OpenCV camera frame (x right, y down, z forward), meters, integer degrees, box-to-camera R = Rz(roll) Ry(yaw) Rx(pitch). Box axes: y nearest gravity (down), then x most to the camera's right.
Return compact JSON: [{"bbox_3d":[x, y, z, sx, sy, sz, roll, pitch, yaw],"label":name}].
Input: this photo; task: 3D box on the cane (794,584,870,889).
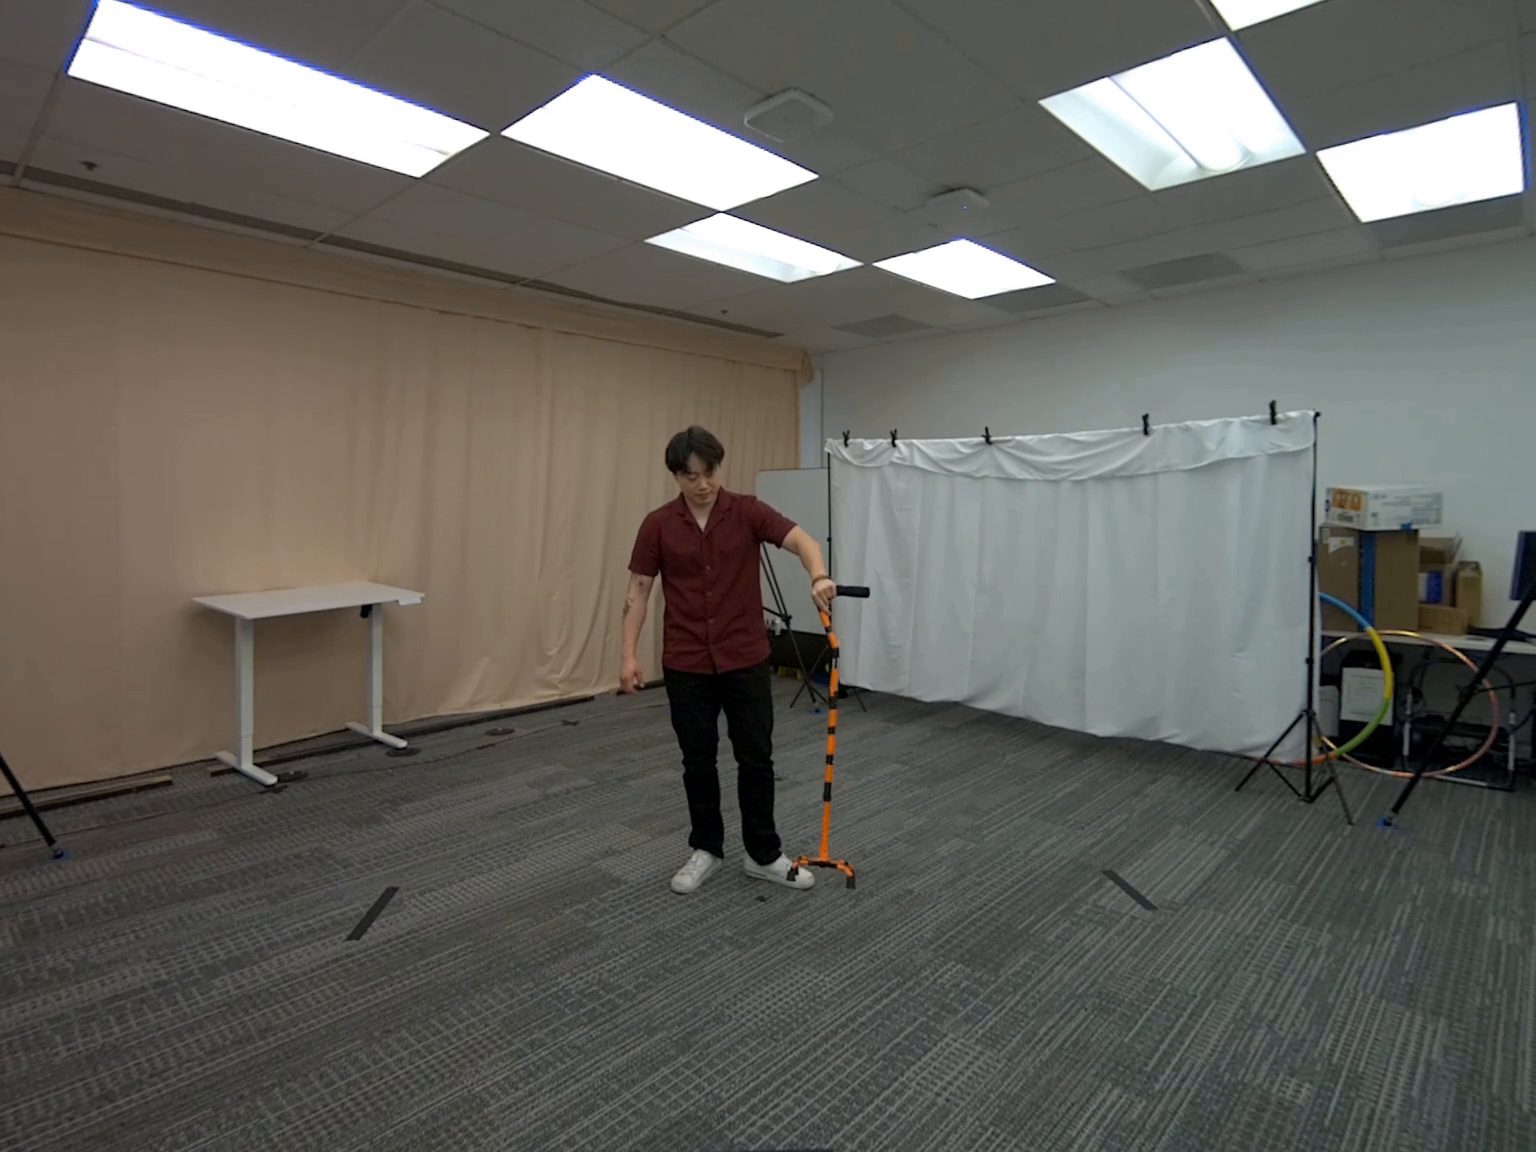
[{"bbox_3d":[0.204,0.496,2.644,0.208,0.913,0.150,3,-10,5],"label":"cane"}]
